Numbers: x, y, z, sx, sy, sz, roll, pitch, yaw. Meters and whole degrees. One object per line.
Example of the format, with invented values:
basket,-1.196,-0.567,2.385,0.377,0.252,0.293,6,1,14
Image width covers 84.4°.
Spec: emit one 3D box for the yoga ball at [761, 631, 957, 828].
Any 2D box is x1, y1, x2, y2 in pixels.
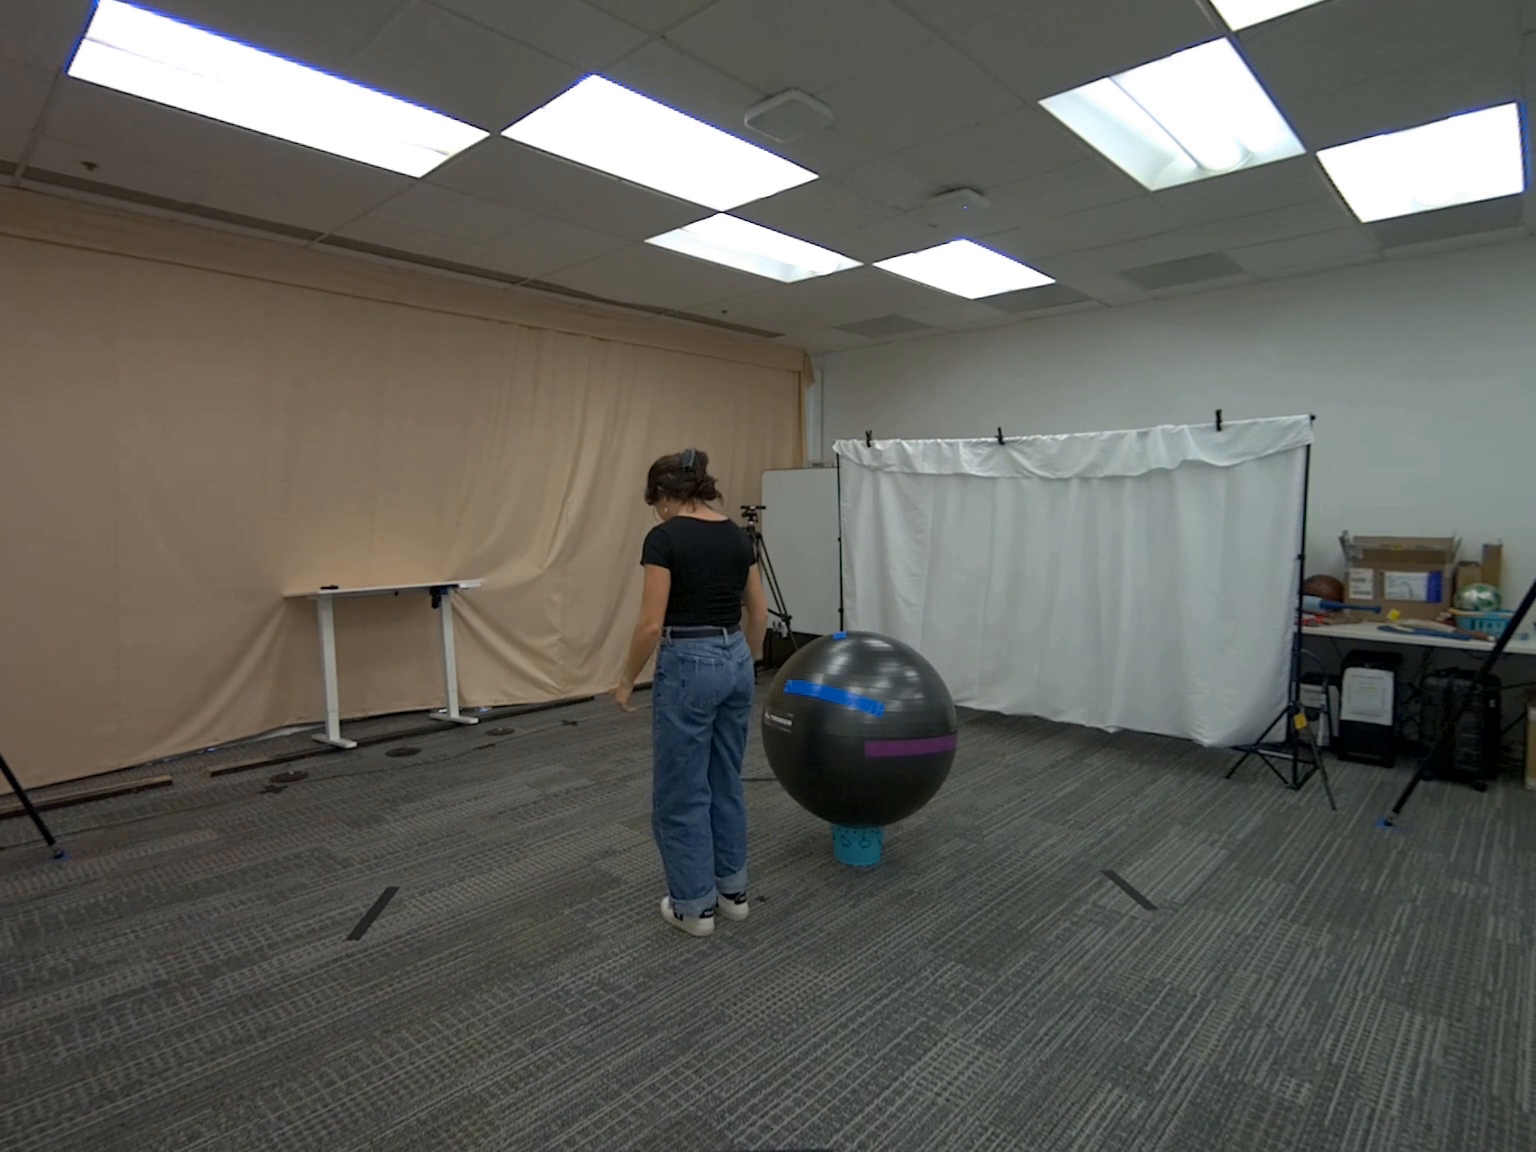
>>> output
yoga ball,0.359,0.600,3.334,0.757,0.756,0.761,0,4,-2
